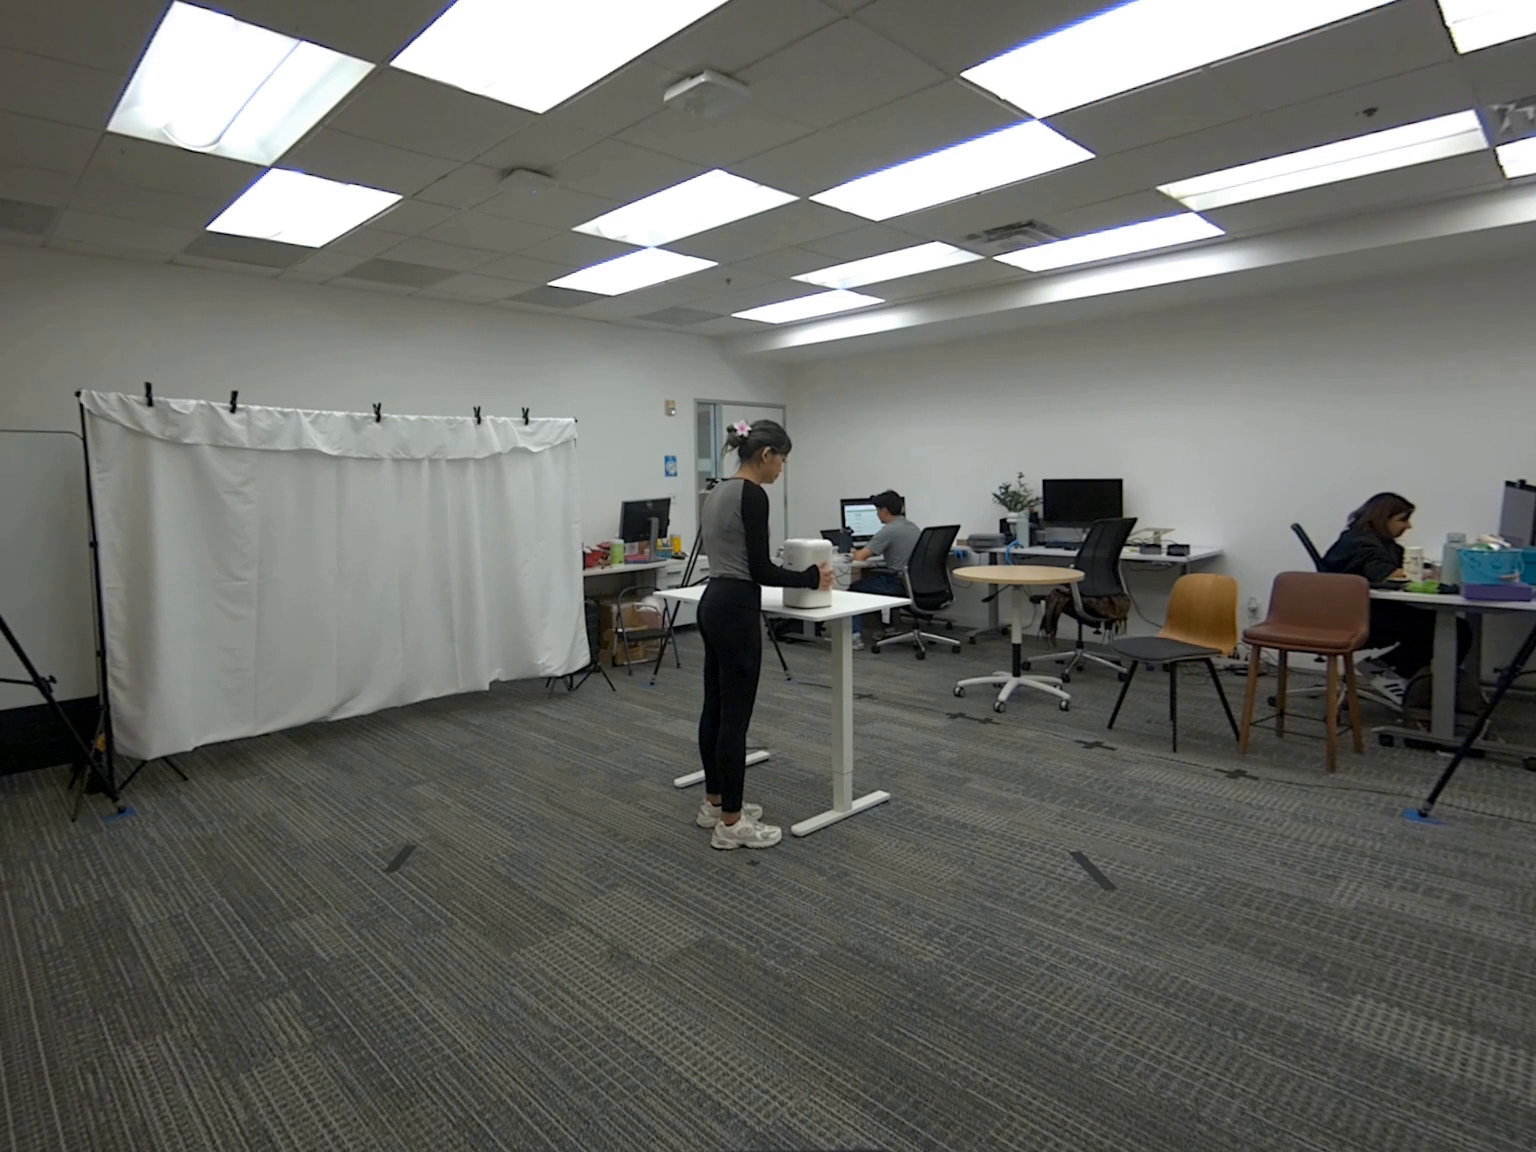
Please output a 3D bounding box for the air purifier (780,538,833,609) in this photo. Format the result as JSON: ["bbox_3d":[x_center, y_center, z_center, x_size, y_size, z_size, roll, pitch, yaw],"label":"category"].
[{"bbox_3d":[0.156,-0.014,3.435,0.167,0.264,0.176,-3,7,-33],"label":"air purifier"}]
